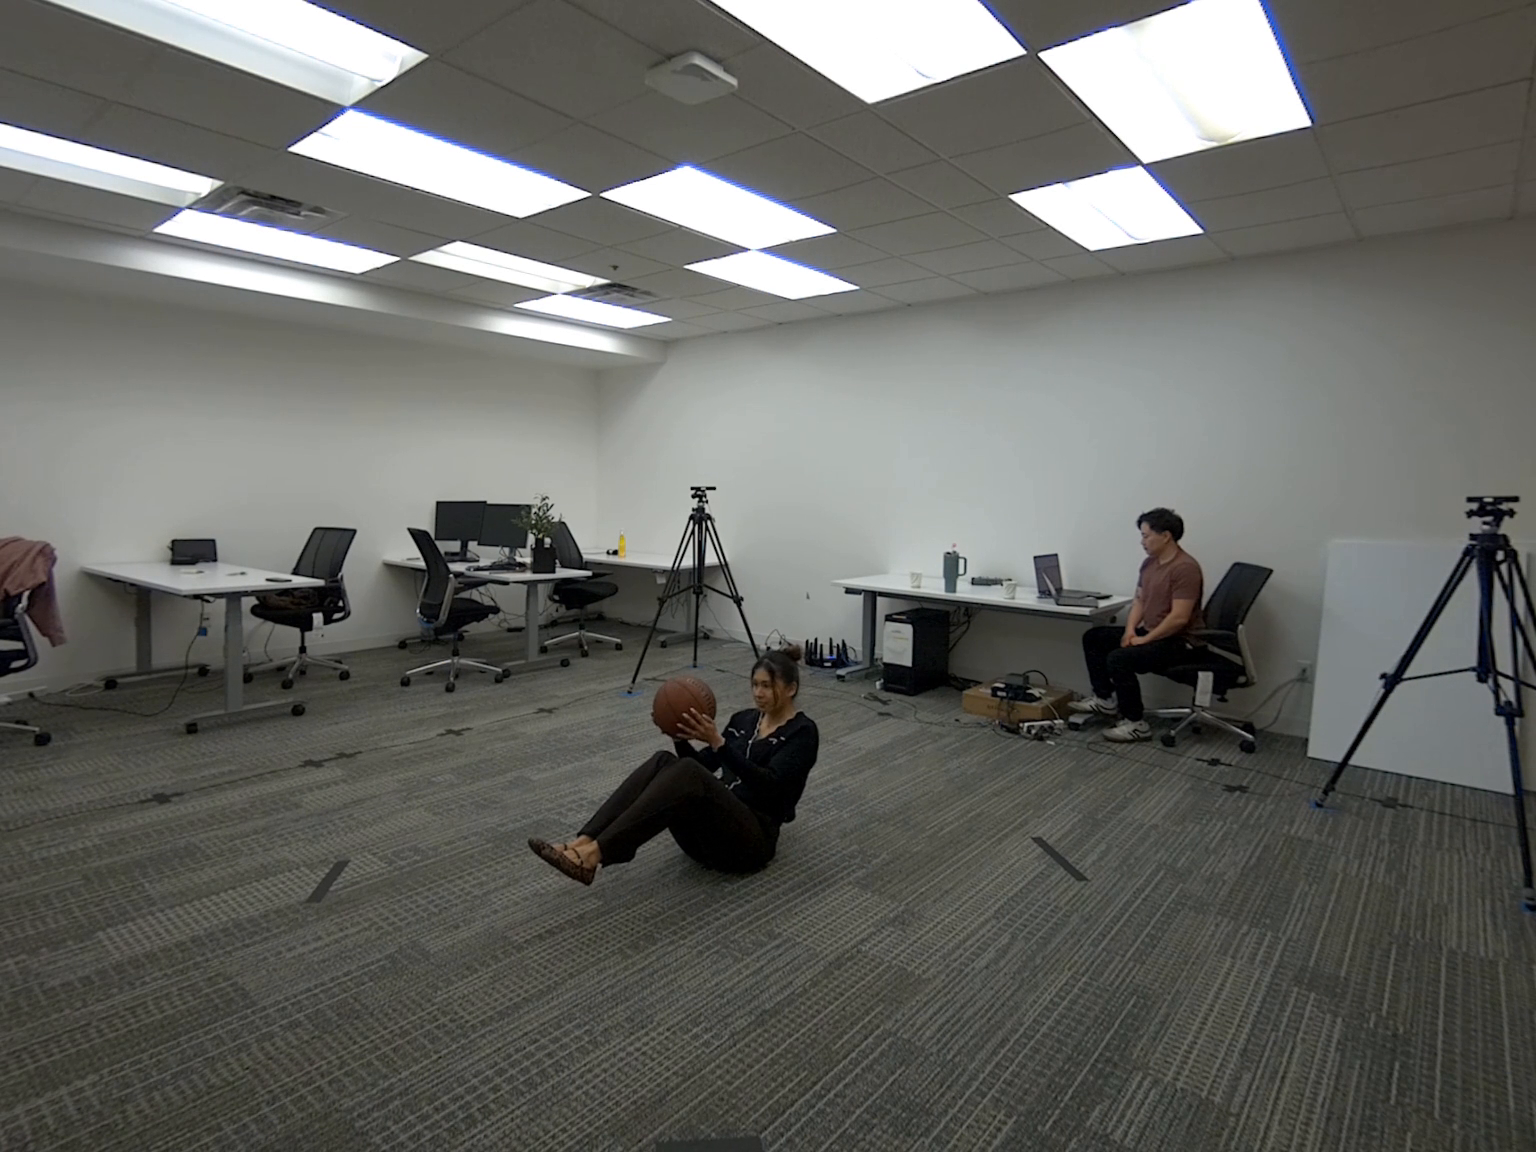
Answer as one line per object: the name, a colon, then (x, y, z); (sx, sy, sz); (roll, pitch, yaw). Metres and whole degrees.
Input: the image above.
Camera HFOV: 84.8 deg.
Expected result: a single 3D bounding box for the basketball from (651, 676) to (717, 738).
basketball: (-0.313, 0.497, 3.161); (0.235, 0.235, 0.237); (1, 4, -2)
